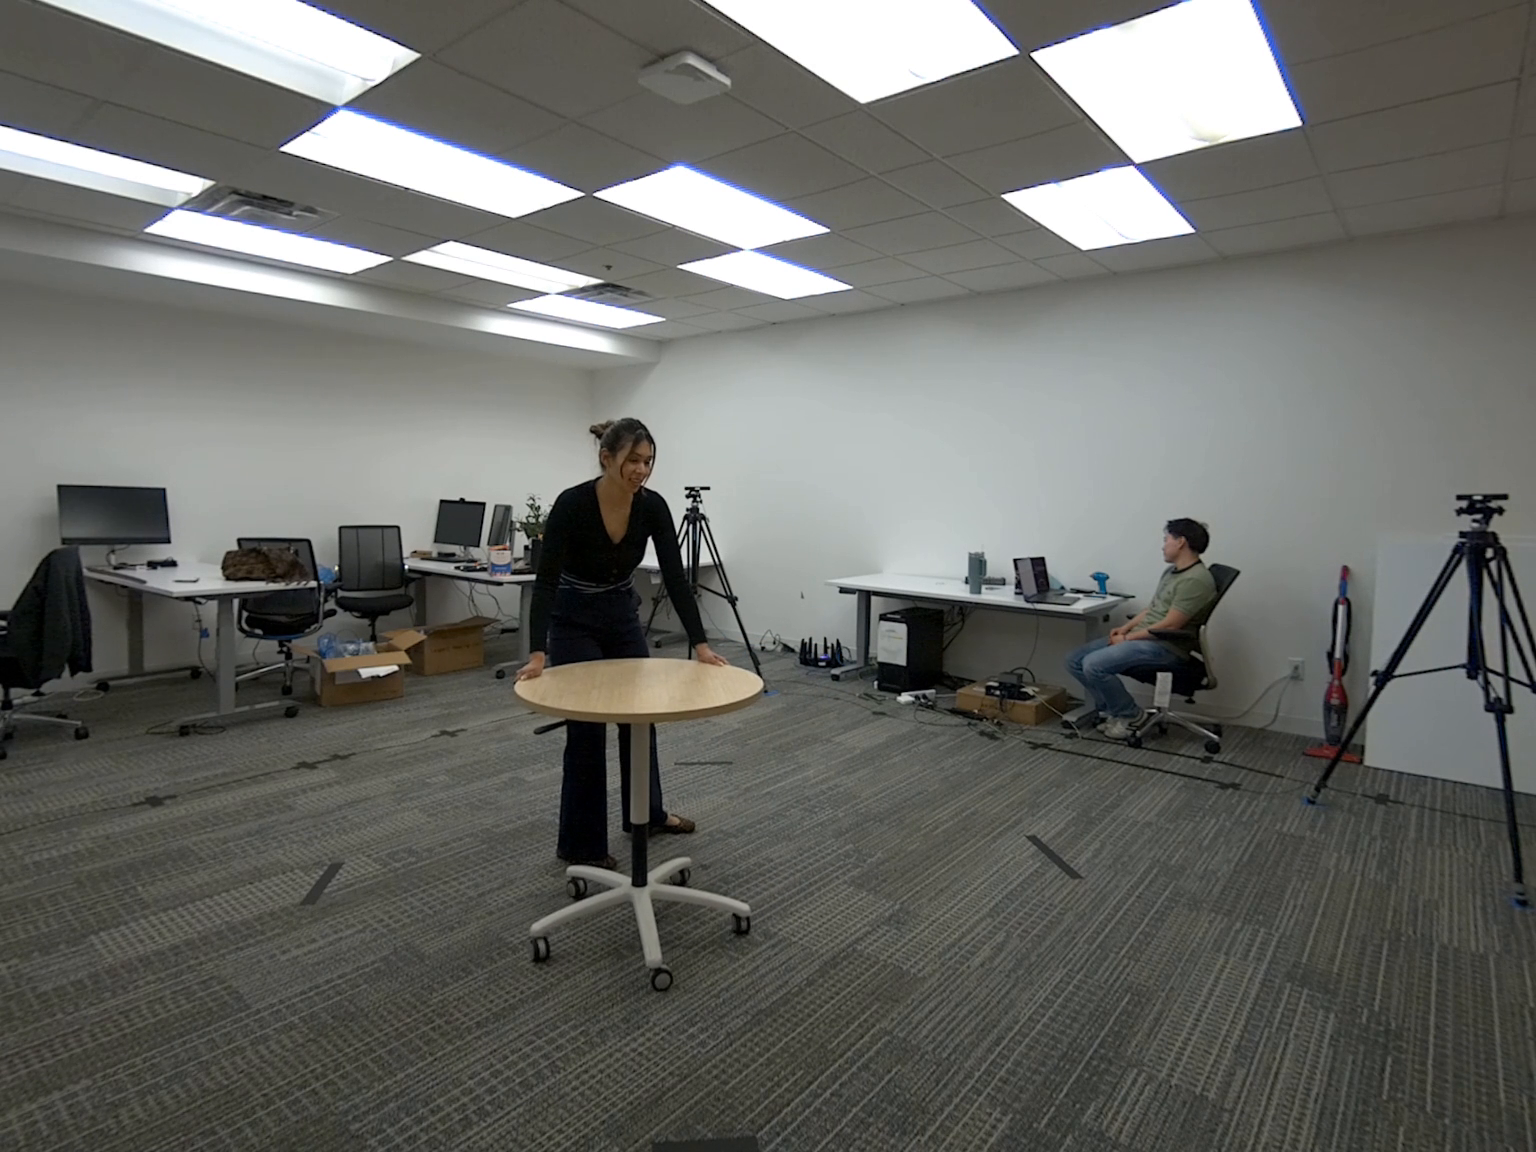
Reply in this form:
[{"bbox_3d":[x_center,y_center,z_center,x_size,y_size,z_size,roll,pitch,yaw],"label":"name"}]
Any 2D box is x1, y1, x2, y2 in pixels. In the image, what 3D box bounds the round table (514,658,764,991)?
[{"bbox_3d":[-0.402,0.717,2.664,0.763,0.791,0.768,1,4,-2],"label":"round table"}]
